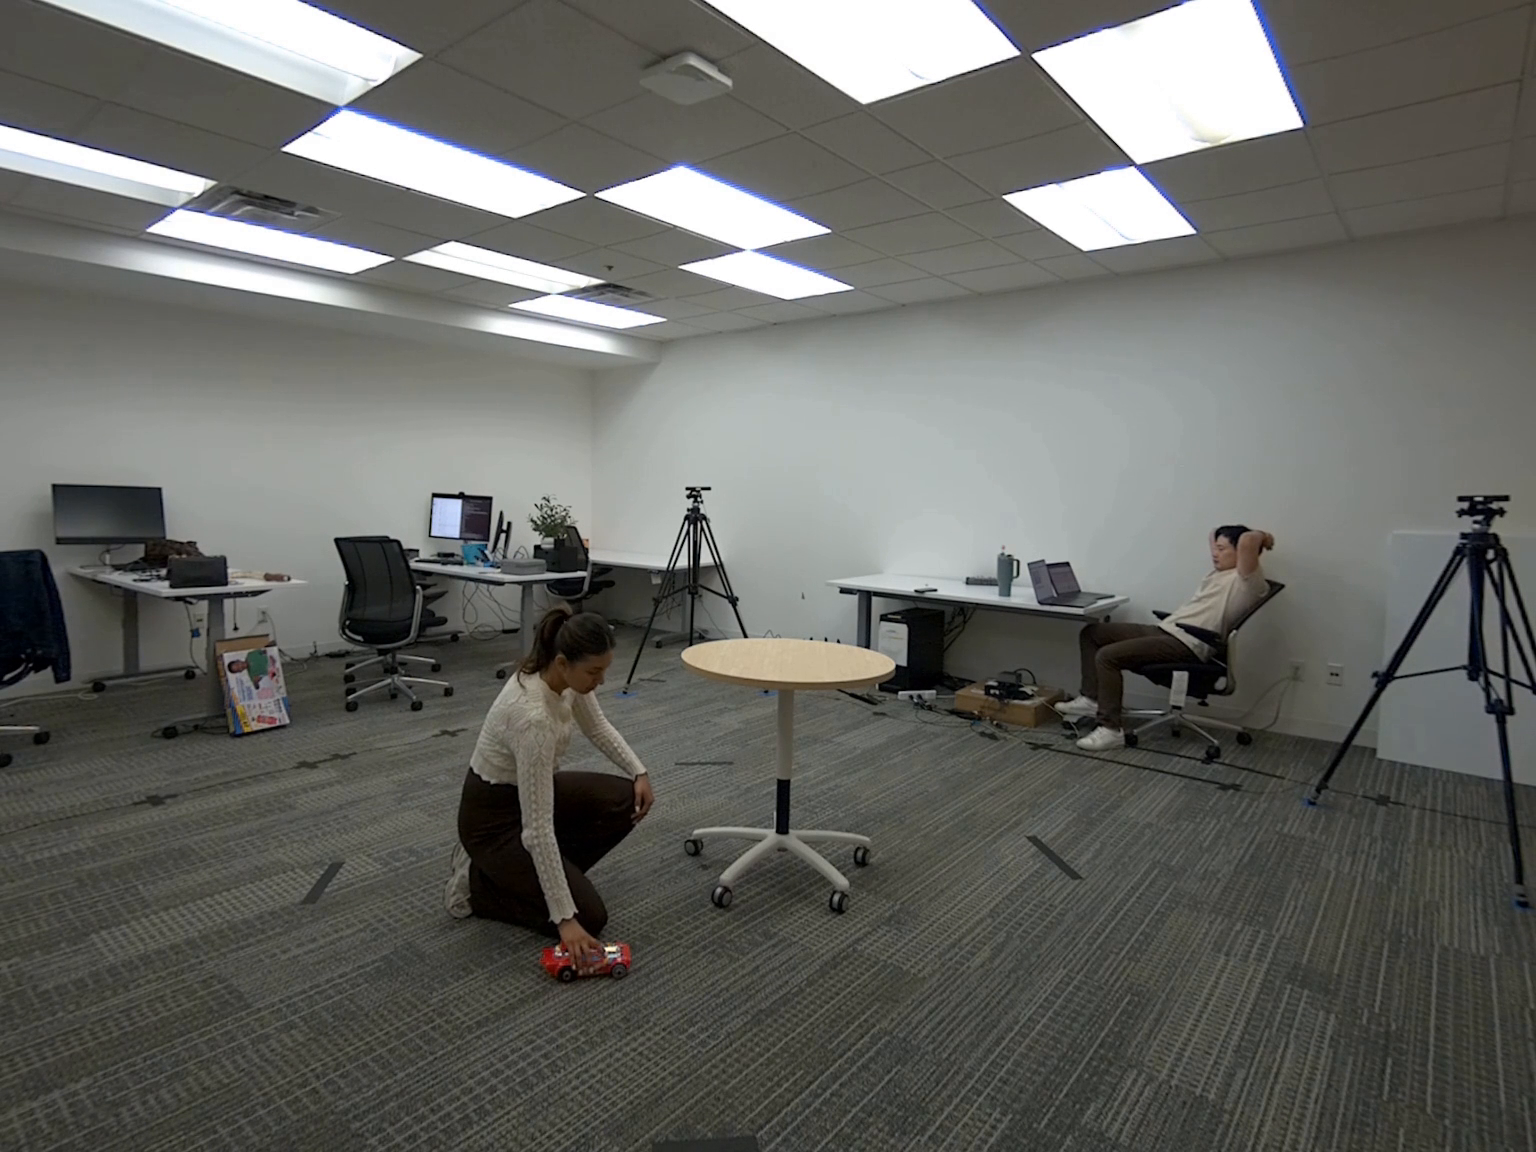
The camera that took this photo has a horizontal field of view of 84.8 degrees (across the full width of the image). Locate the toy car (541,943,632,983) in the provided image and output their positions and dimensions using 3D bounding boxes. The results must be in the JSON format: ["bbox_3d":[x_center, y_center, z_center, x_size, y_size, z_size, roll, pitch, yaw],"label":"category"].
[{"bbox_3d":[-0.531,1.096,2.433,0.252,0.083,0.132,10,3,-10],"label":"toy car"}]
